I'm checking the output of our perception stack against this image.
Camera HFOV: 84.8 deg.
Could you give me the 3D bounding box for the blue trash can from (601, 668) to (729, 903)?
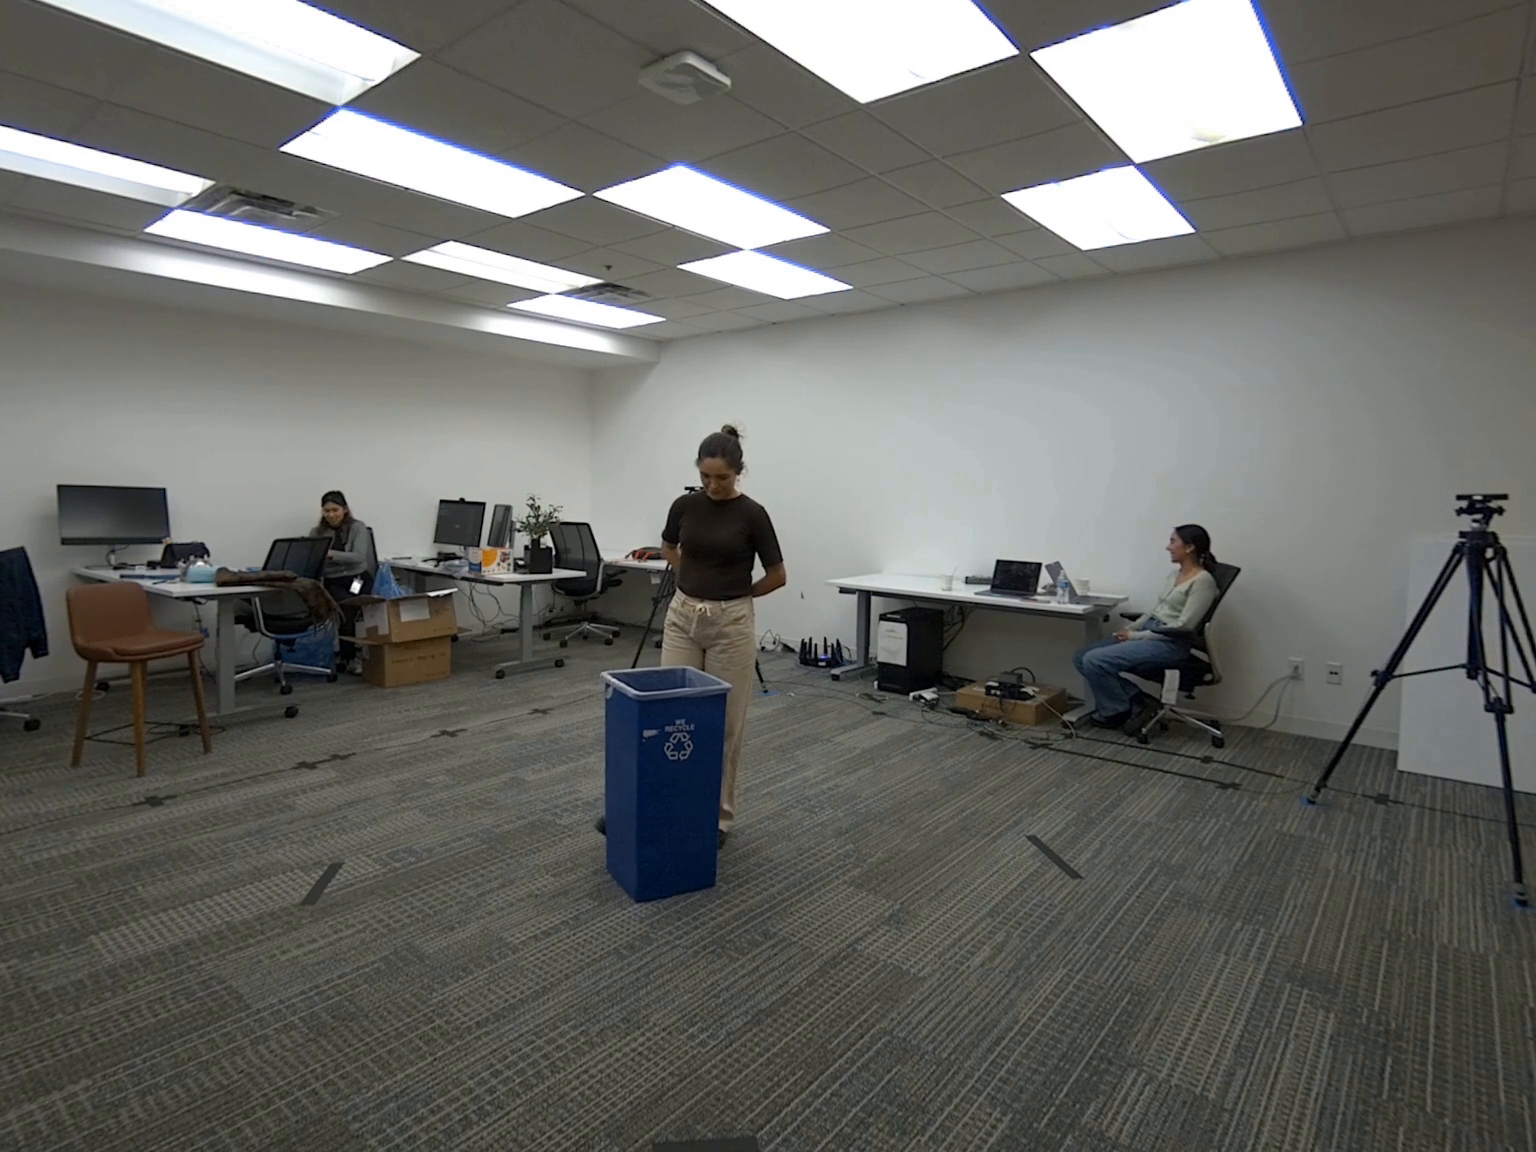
[{"bbox_3d":[-0.370,0.713,3.002,0.367,0.712,0.385,0,3,-32],"label":"blue trash can"}]
